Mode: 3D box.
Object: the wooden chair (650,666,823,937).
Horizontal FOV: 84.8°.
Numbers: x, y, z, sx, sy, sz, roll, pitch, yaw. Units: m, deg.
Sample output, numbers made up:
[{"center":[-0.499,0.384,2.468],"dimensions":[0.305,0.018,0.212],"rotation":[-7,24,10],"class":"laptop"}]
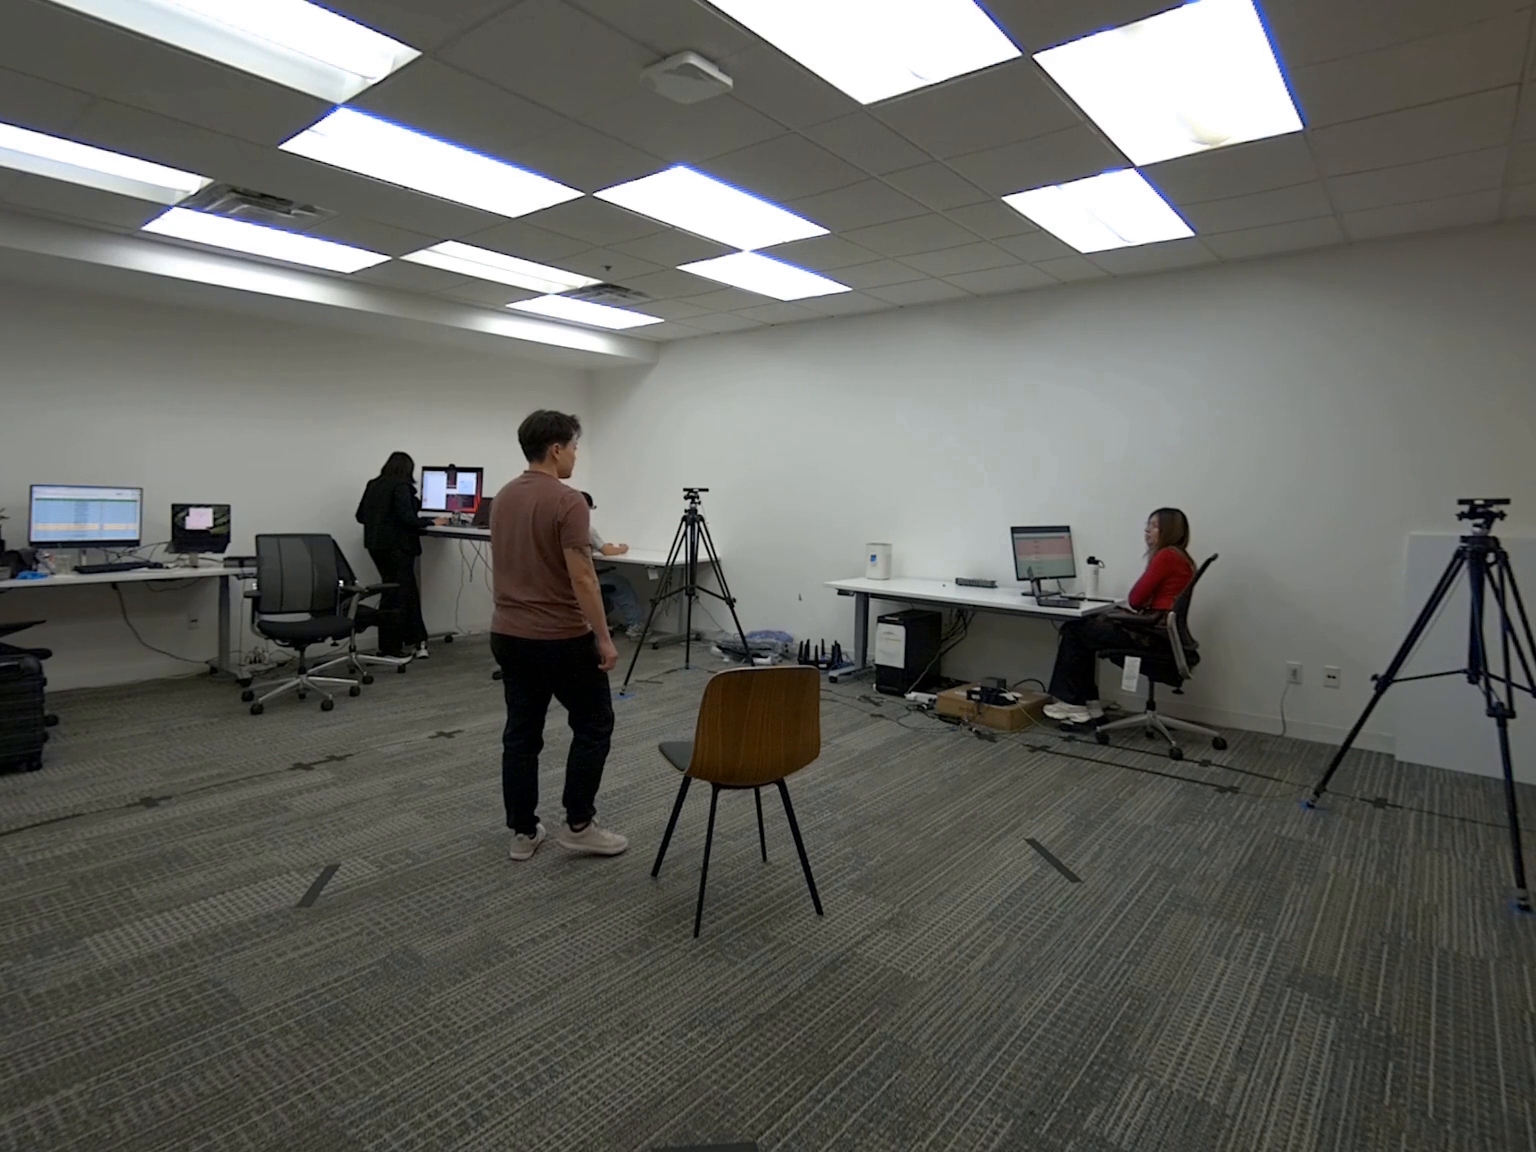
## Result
[{"center":[-0.118,0.667,2.890],"dimensions":[0.467,0.872,0.538],"rotation":[0,8,-23],"class":"wooden chair"}]
